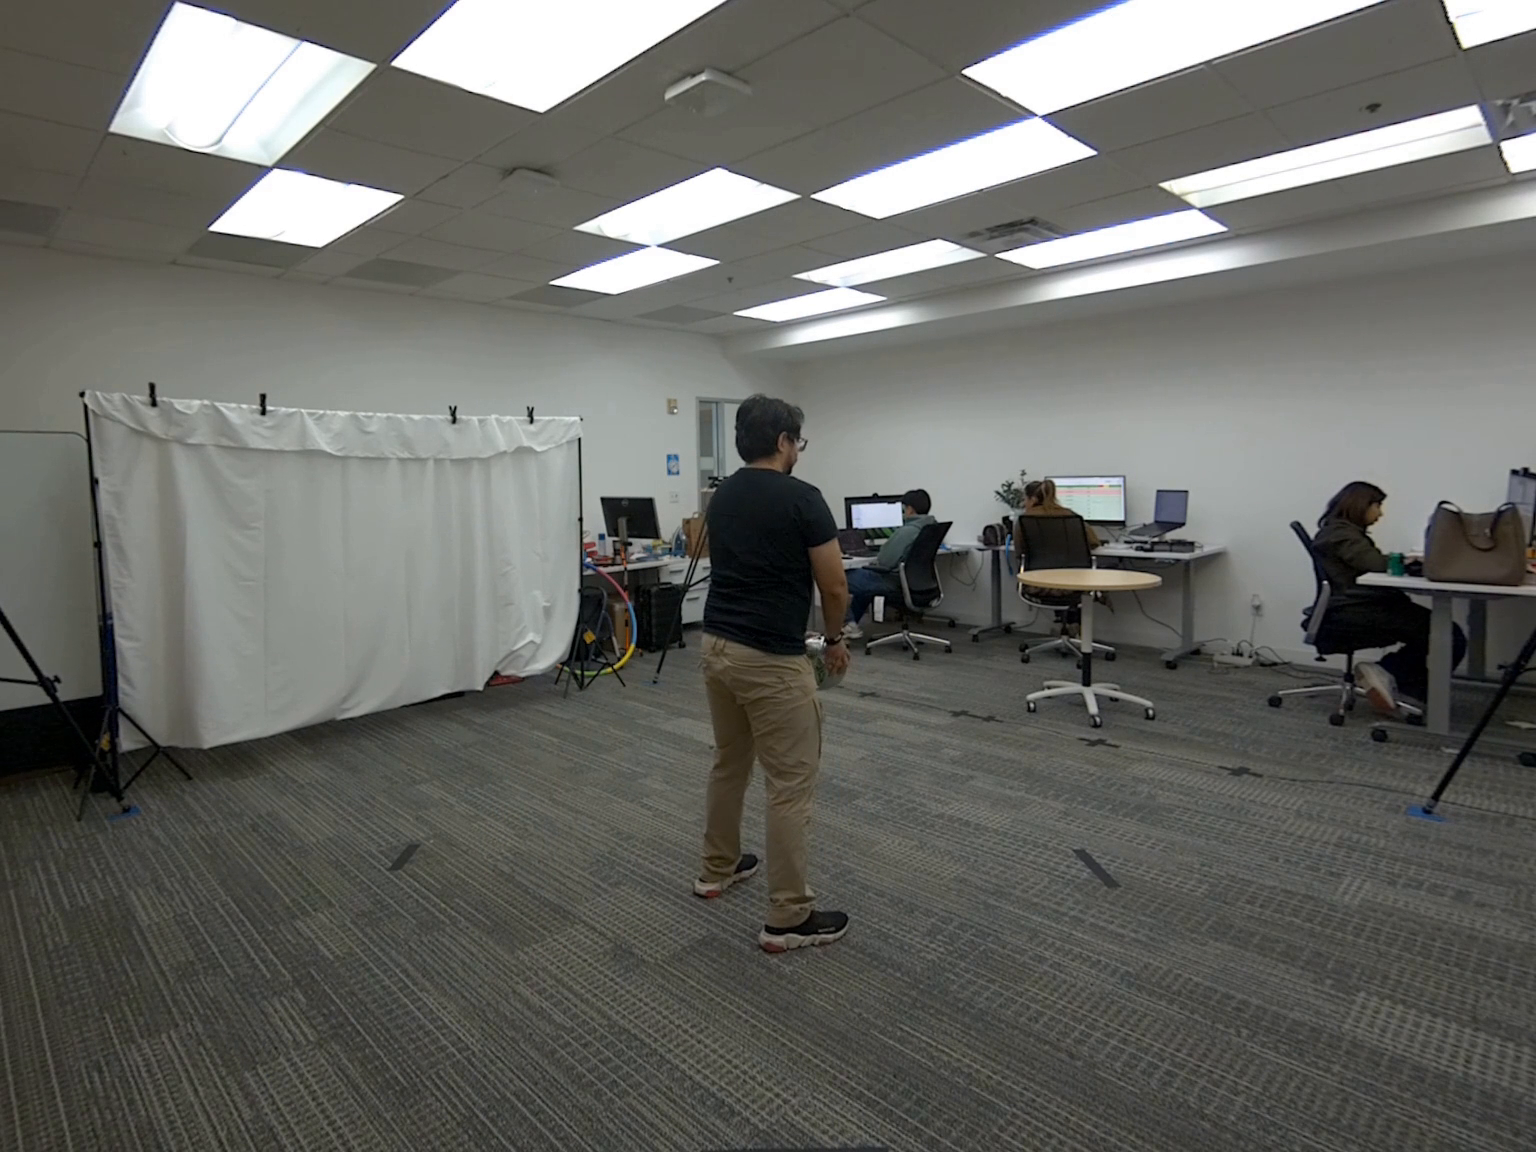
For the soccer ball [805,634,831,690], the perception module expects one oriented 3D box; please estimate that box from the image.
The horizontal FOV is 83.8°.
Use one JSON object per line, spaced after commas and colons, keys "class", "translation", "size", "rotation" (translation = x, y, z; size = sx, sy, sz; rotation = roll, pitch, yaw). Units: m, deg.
{"class": "soccer ball", "translation": [0.190, 0.305, 2.930], "size": [0.187, 0.187, 0.188], "rotation": [-1, 5, -2]}
